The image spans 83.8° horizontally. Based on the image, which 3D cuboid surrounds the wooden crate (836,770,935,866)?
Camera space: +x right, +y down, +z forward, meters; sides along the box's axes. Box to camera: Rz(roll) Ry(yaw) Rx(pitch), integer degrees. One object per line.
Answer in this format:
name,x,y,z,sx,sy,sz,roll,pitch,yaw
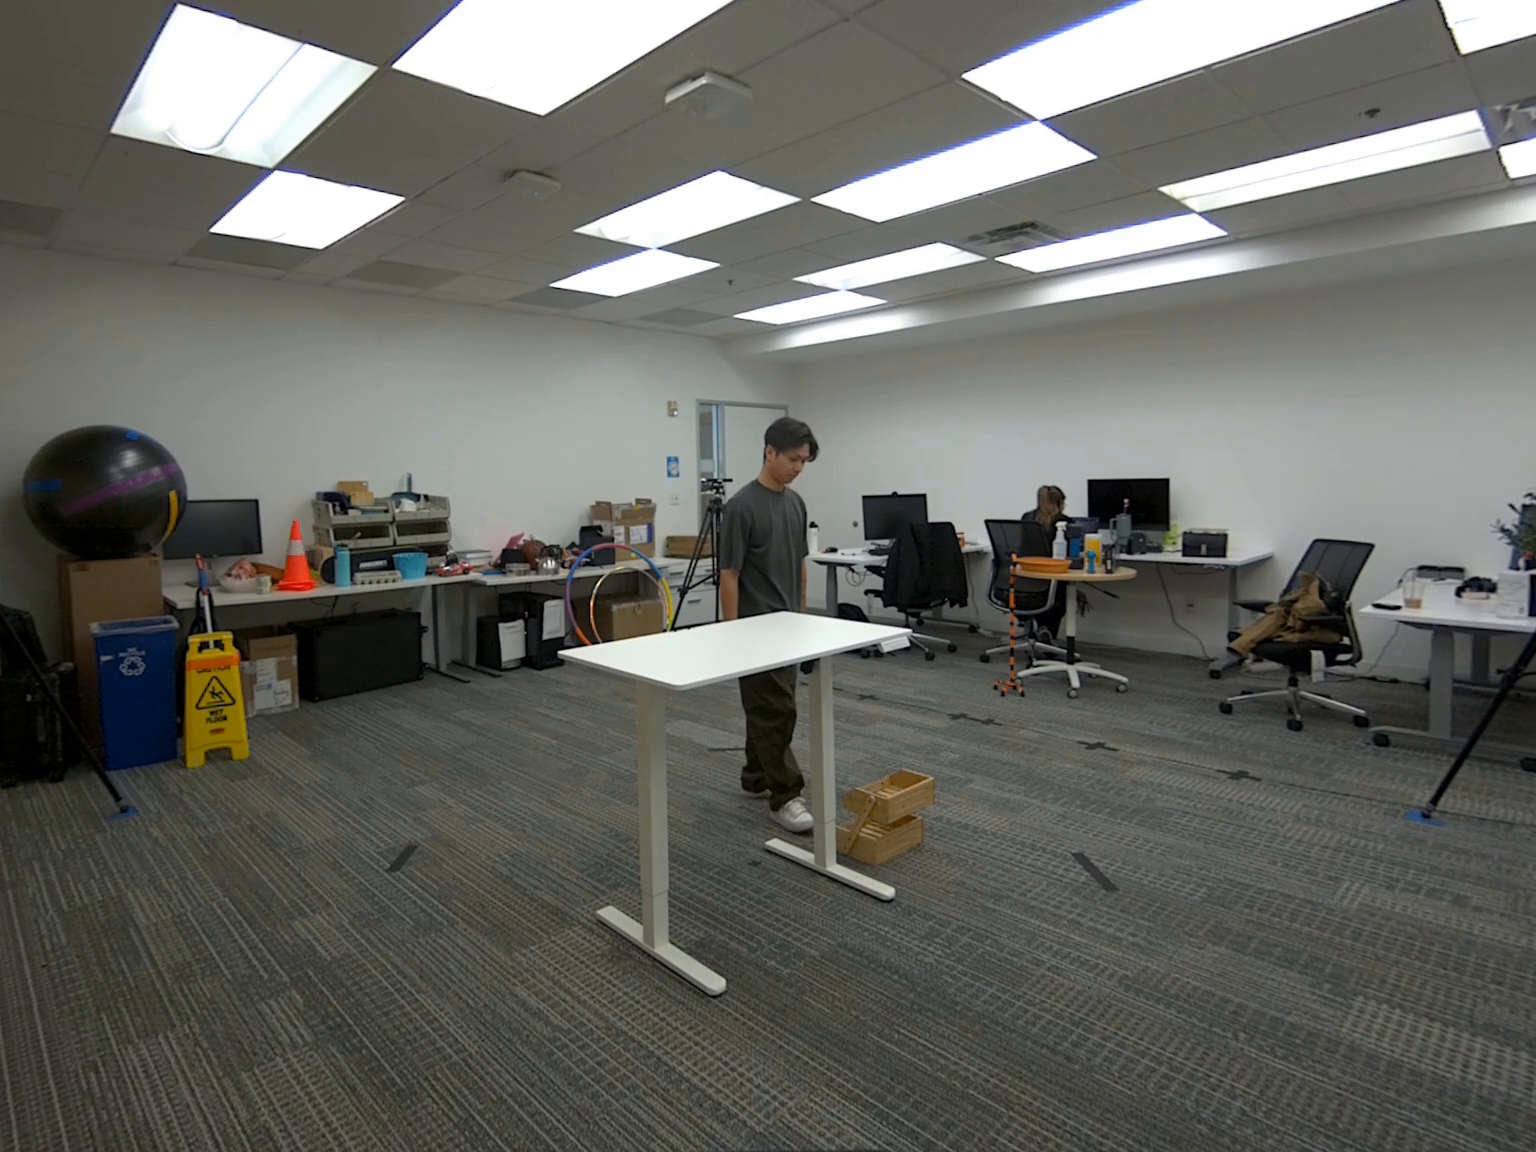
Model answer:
wooden crate,0.420,0.890,3.232,0.311,0.272,0.316,4,7,45
